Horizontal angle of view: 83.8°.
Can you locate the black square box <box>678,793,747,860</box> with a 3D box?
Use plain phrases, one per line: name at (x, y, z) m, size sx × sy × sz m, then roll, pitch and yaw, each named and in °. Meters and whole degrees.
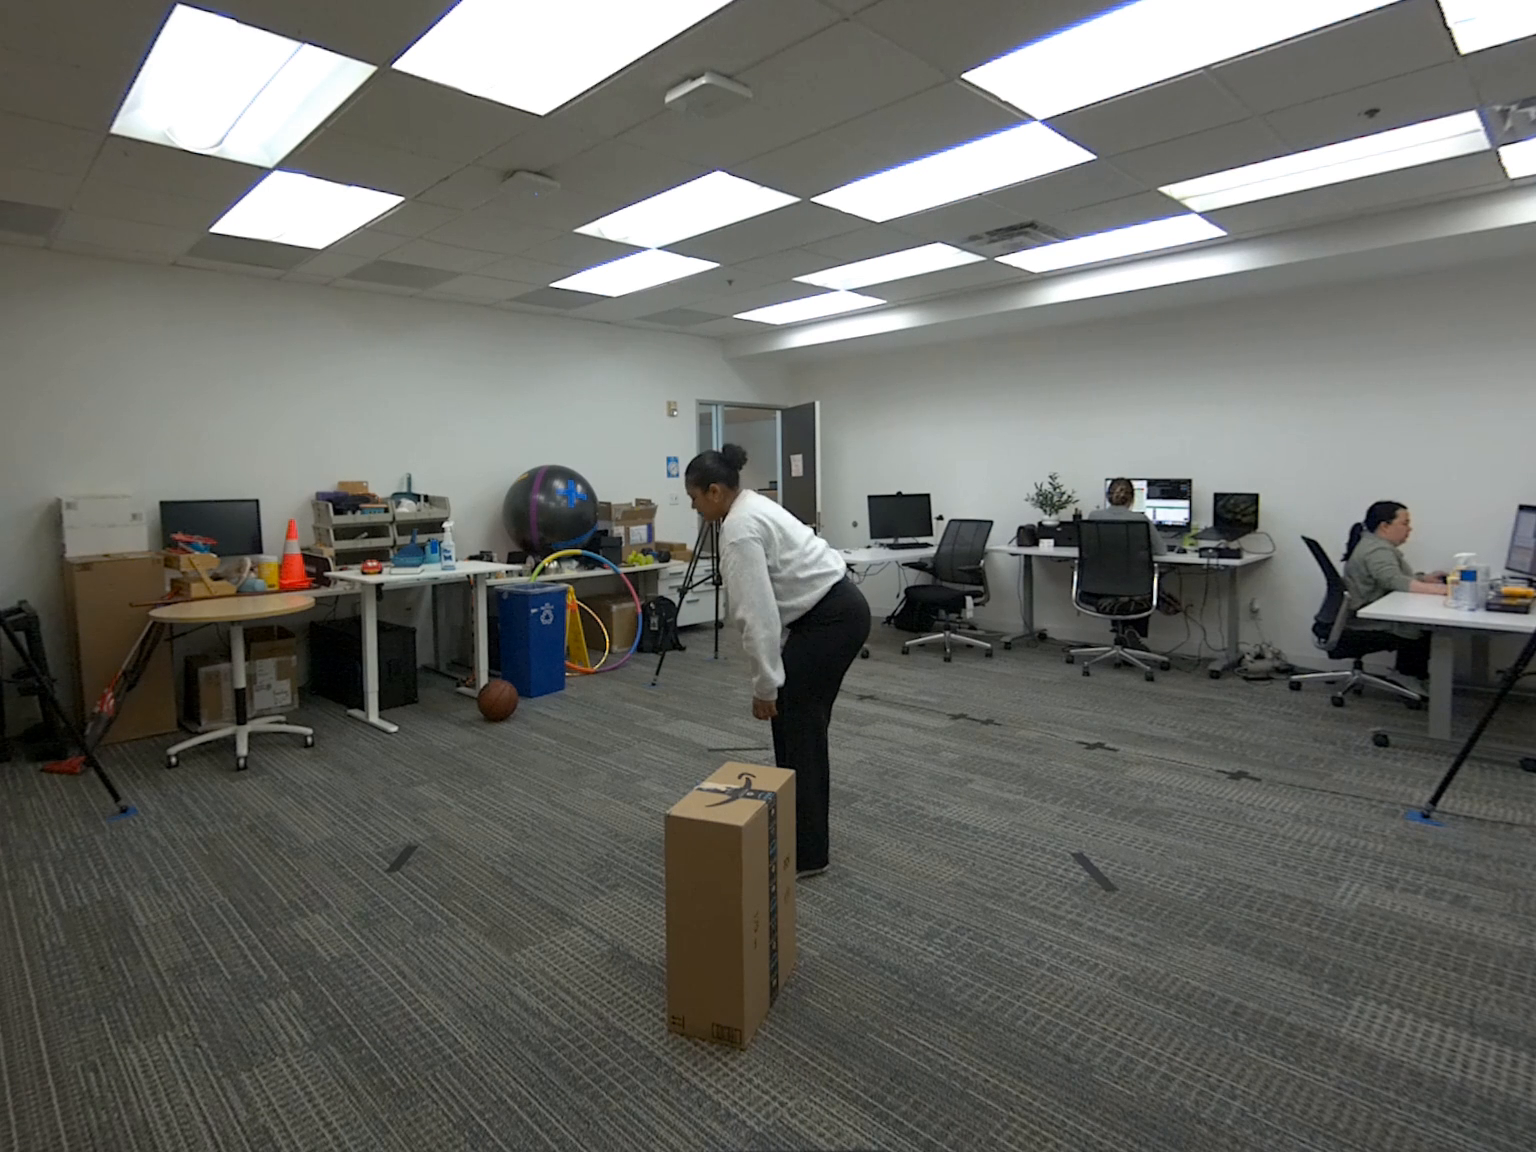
black square box at (-0.210, 0.948, 3.260) m, size 0.219 × 0.155 × 0.226 m, roll 0°, pitch 4°, yaw 9°
